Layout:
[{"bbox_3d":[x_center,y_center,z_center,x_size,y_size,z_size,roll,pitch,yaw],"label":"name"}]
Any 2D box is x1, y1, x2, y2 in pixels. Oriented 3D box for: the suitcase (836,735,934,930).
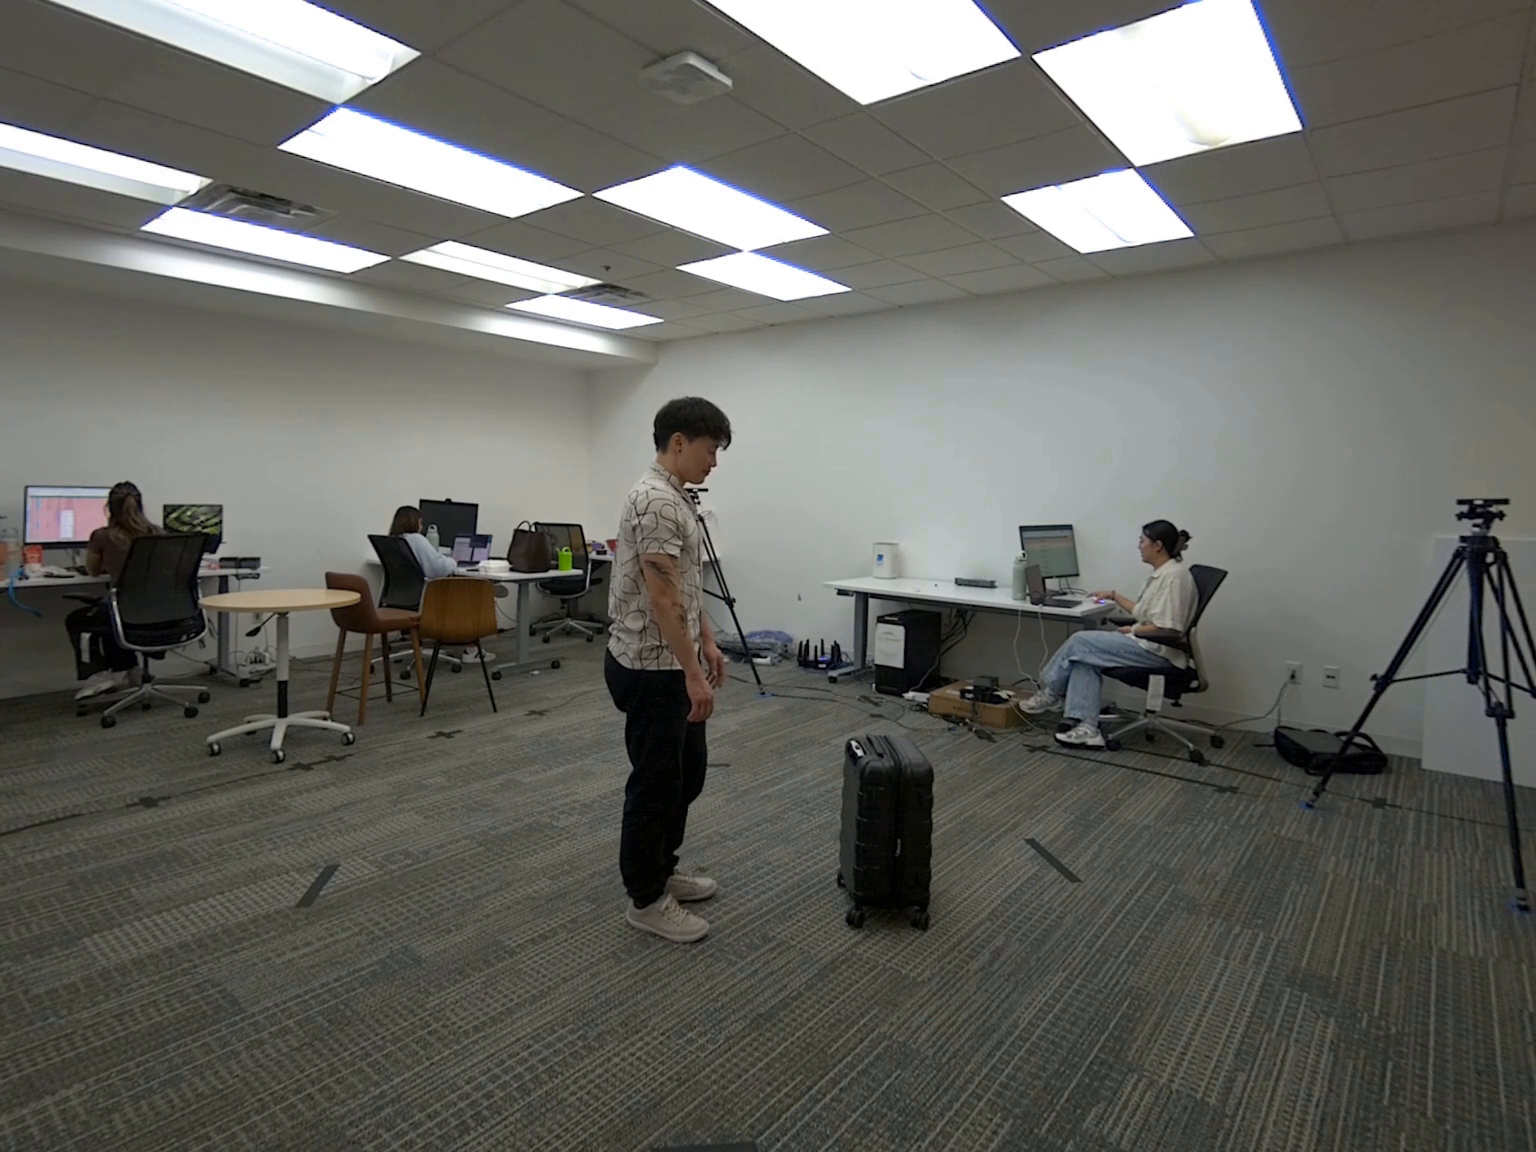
[{"bbox_3d":[0.384,0.833,2.874,0.248,0.548,0.376,2,2,-2],"label":"suitcase"}]
